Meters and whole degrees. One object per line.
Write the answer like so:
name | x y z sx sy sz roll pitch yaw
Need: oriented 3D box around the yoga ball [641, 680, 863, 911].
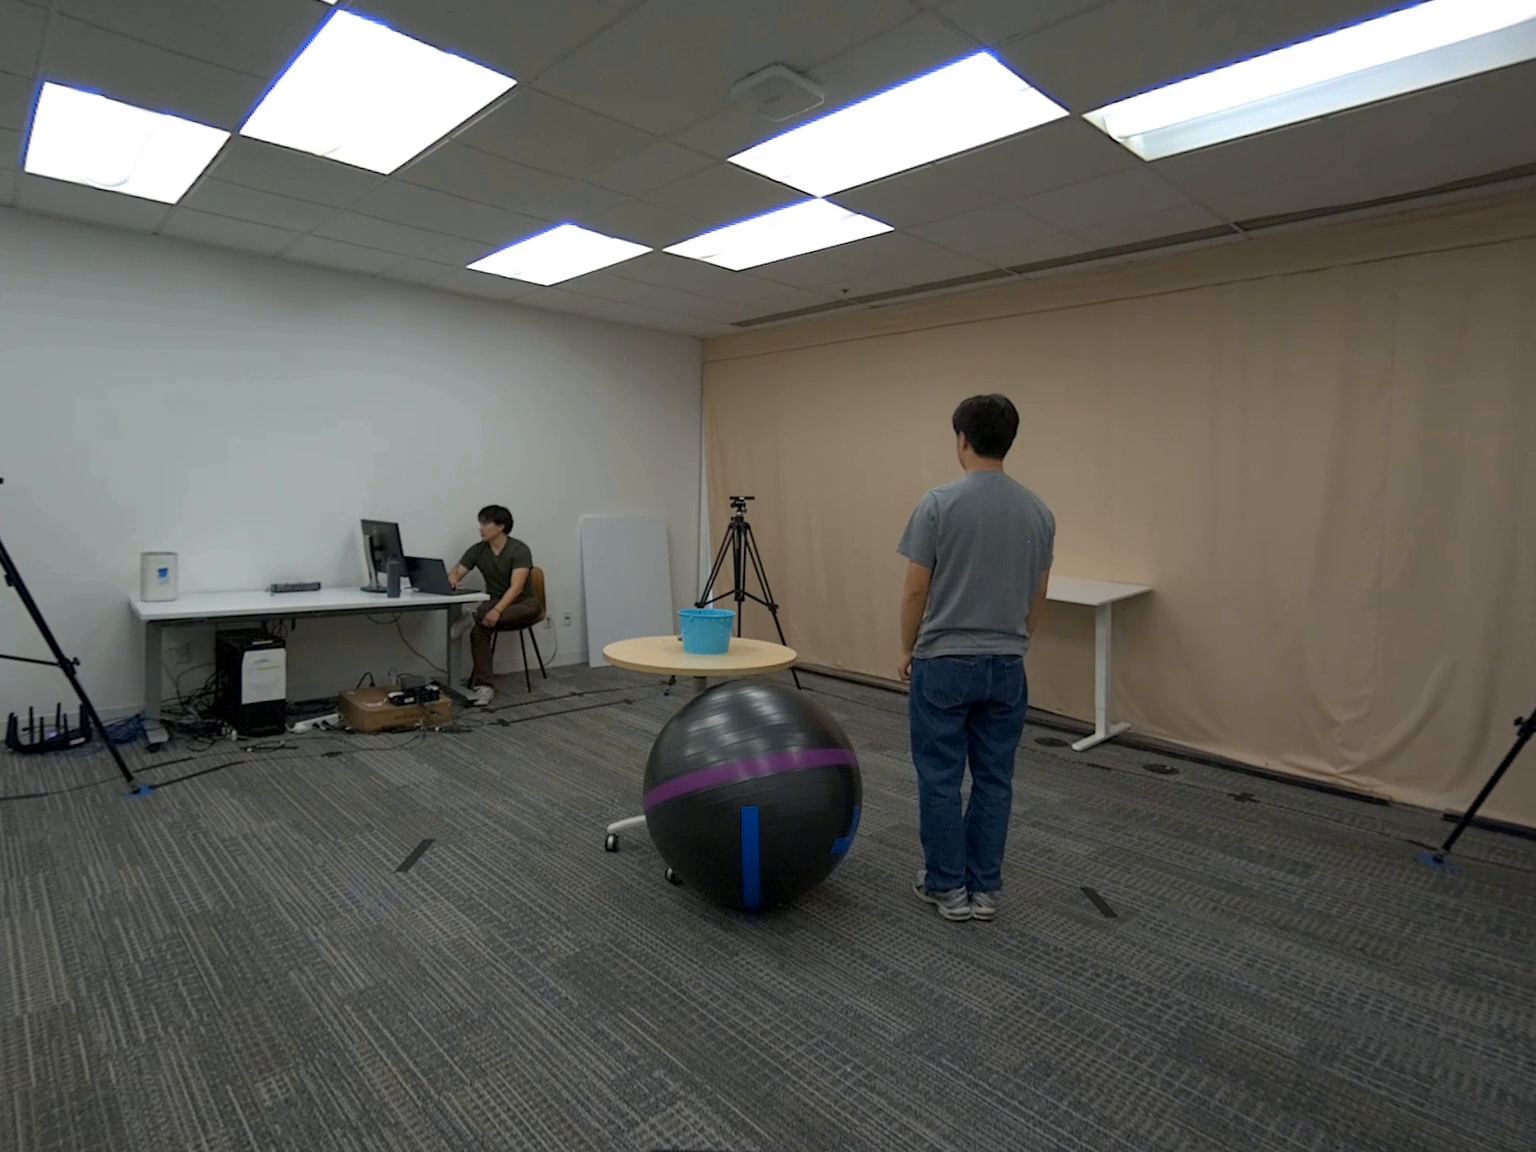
yoga ball | -0.058 0.753 2.925 0.757 0.756 0.761 1 4 -1
